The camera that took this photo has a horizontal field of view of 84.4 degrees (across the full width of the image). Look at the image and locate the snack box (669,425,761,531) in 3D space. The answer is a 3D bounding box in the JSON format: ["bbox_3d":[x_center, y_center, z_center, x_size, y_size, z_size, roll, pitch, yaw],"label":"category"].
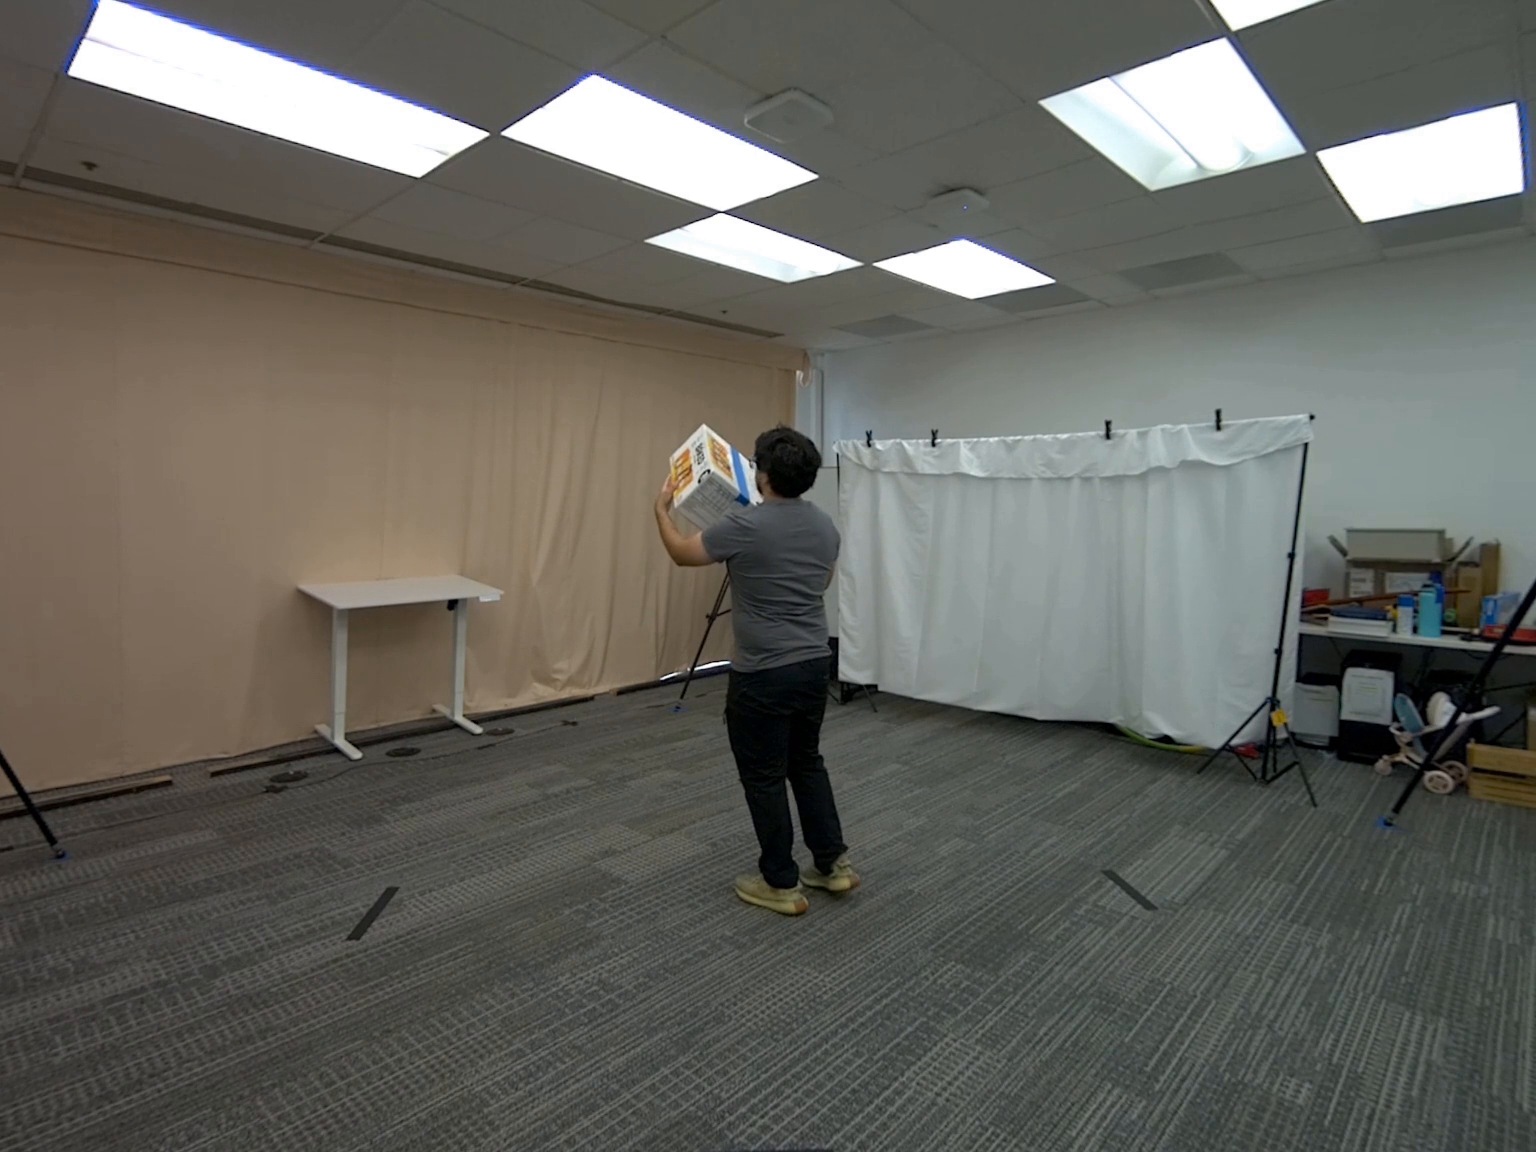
[{"bbox_3d":[-0.169,-0.323,3.205,0.331,0.207,0.414,37,21,-27],"label":"snack box"}]
